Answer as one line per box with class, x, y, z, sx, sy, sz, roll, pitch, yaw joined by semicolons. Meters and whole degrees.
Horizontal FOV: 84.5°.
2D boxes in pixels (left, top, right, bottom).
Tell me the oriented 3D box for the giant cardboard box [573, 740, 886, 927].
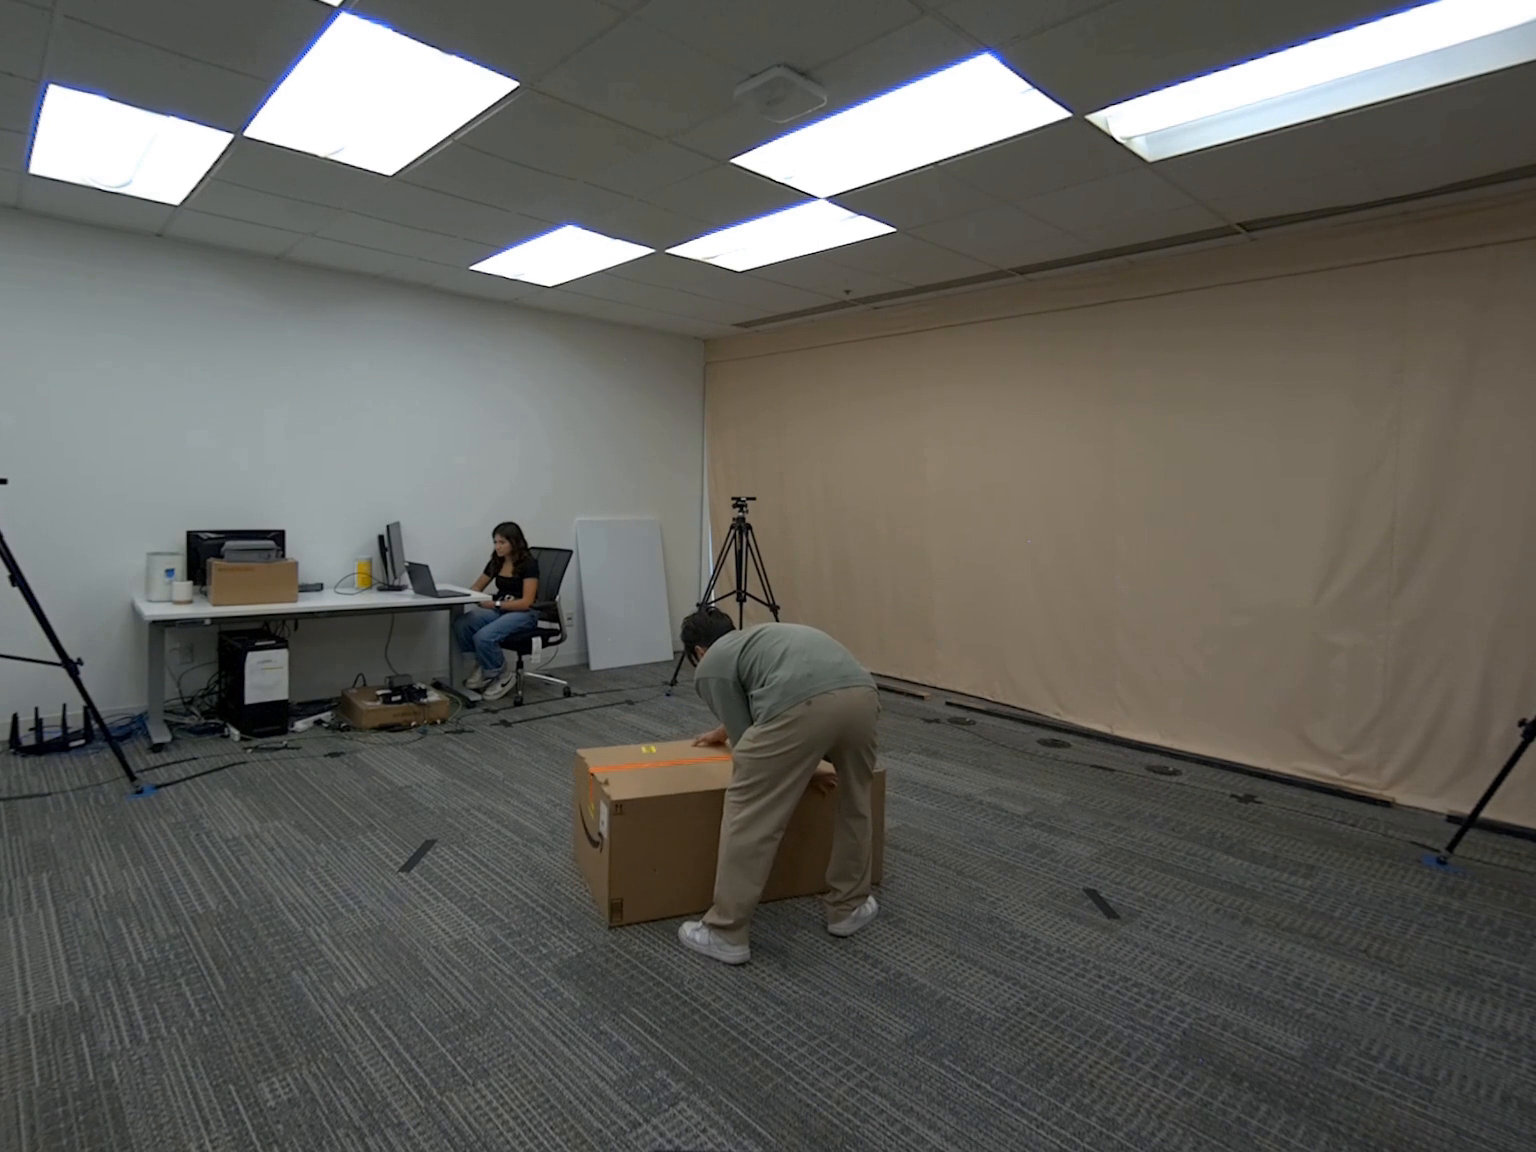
giant cardboard box;-0.168;0.886;3.145;1.009;0.425;0.588;0;5;-22
